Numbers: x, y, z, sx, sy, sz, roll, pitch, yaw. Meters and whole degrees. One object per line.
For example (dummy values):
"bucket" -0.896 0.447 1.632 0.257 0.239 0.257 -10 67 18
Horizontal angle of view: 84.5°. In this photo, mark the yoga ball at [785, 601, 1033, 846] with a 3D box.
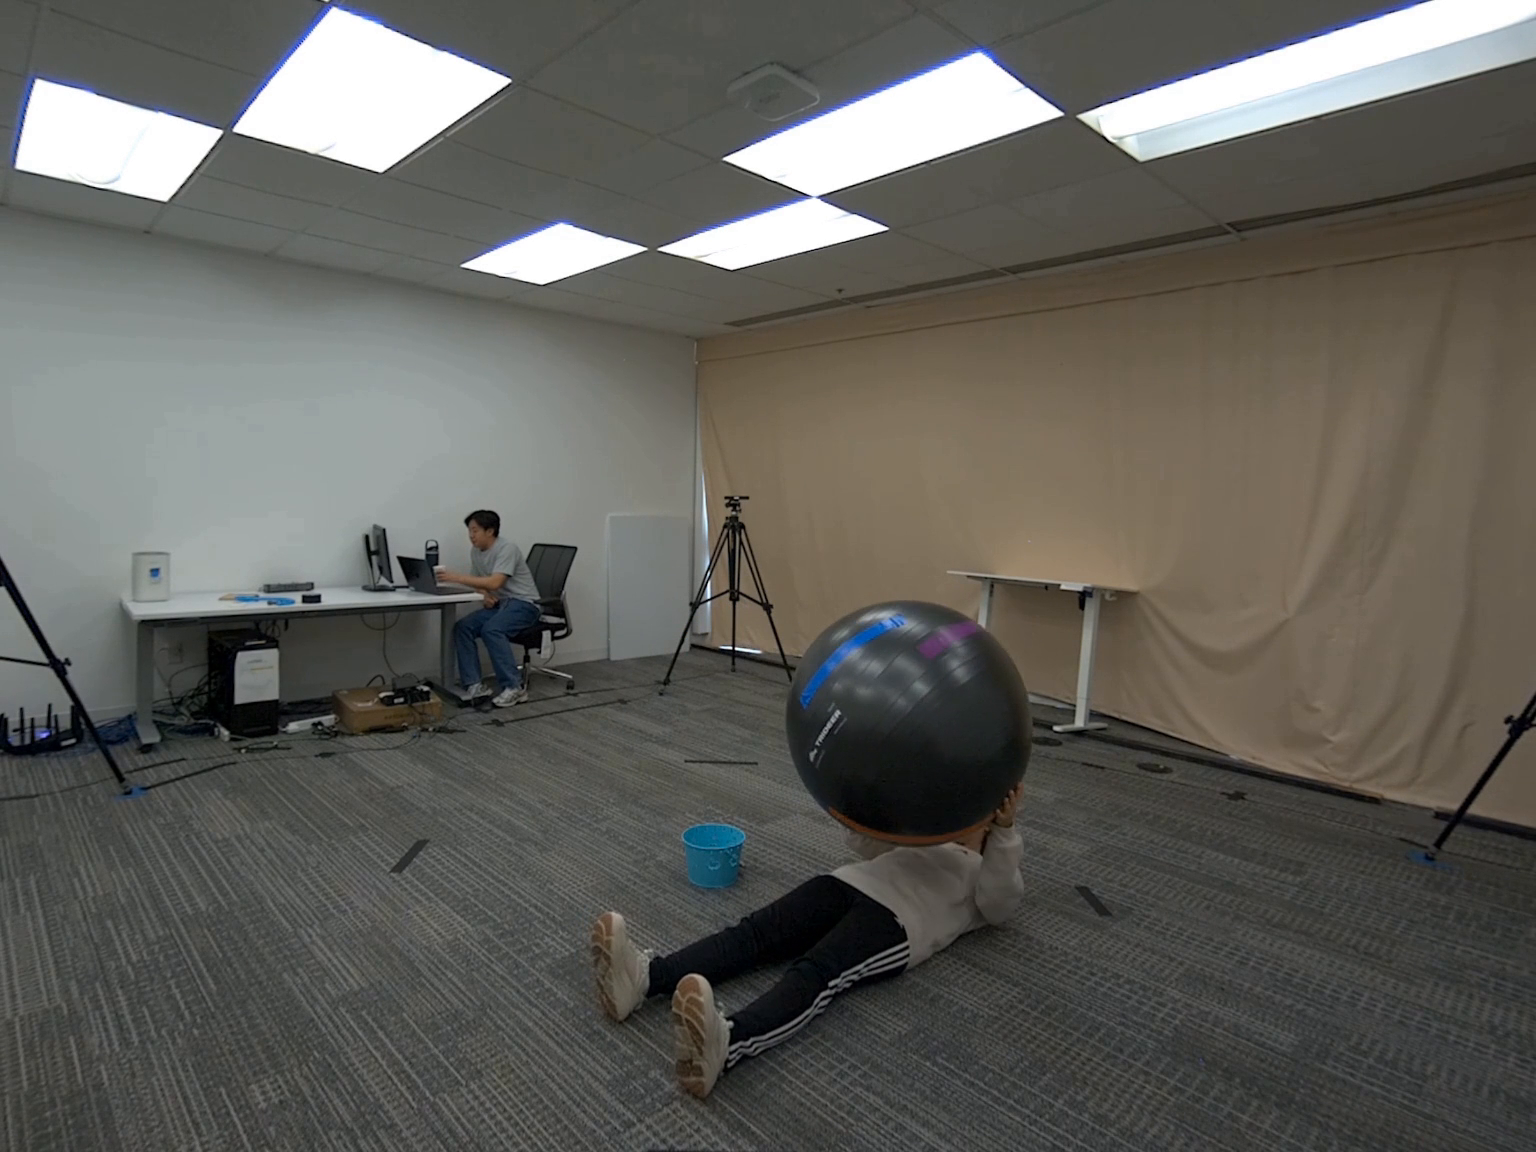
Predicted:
"yoga ball" 0.422 0.453 2.668 0.757 0.756 0.761 1 4 -1
